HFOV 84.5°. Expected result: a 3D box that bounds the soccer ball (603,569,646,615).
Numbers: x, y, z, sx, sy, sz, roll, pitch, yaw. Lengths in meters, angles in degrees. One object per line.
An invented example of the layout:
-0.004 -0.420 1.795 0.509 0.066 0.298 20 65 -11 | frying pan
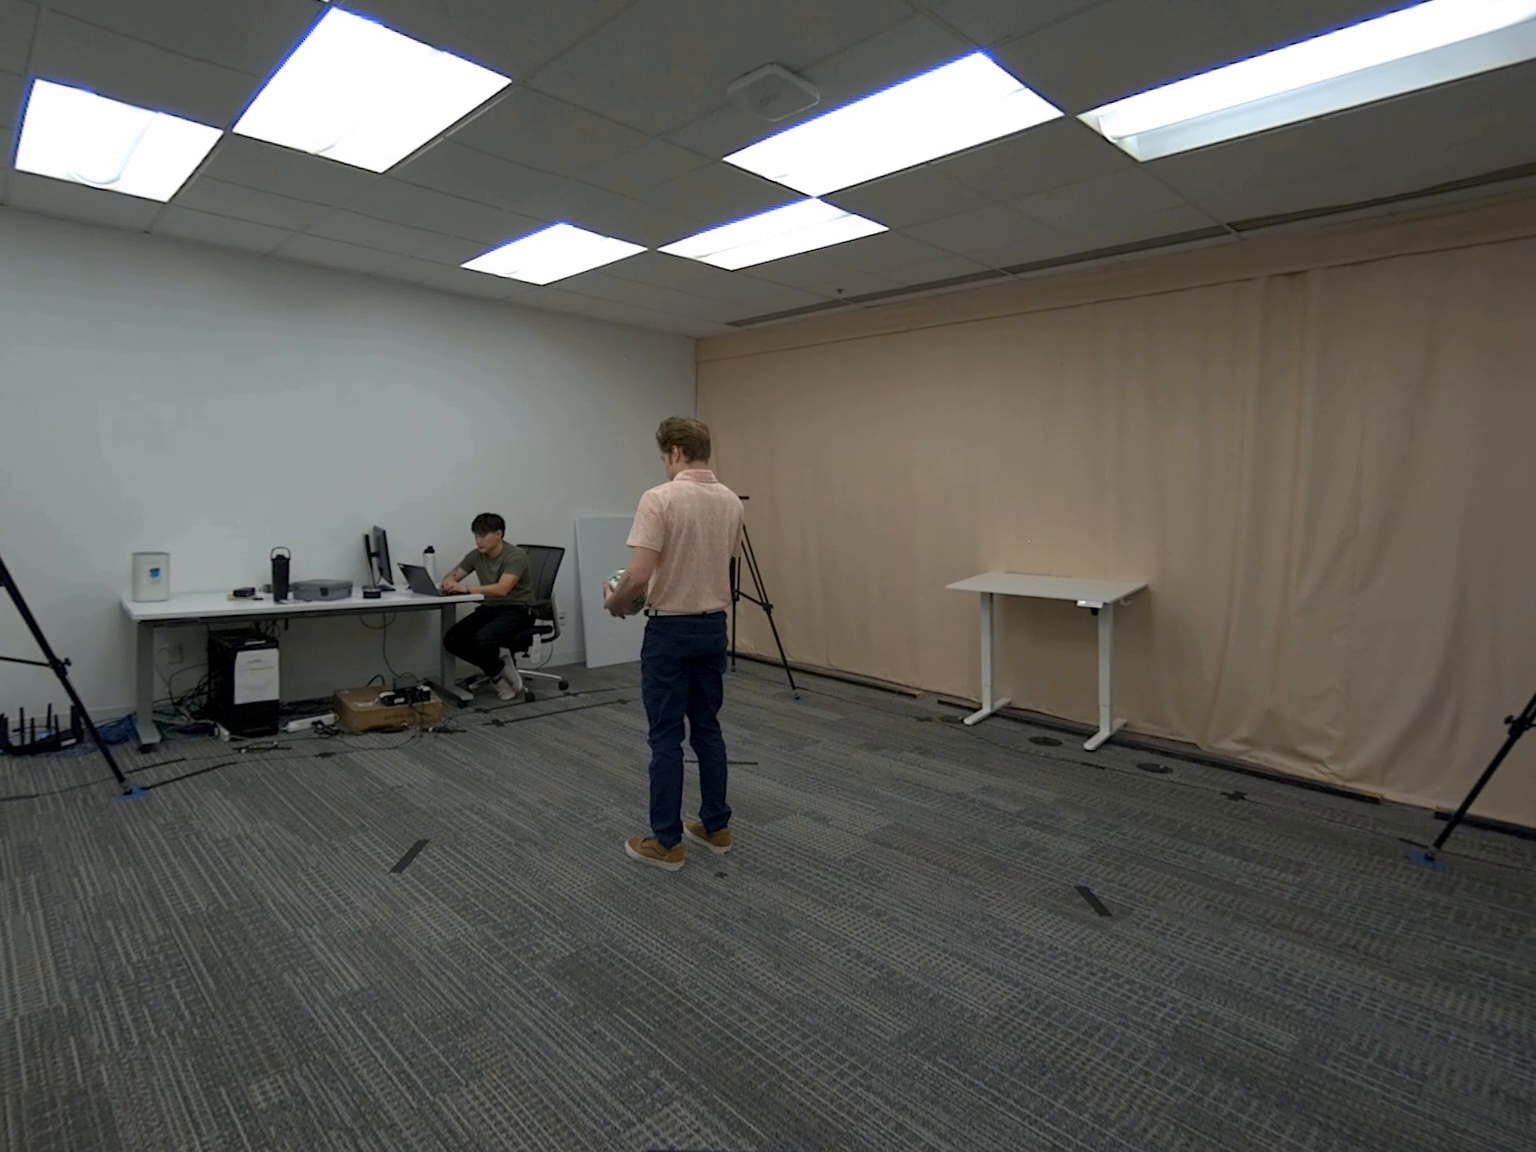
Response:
-0.547 0.065 3.391 0.187 0.187 0.188 1 4 -1 | soccer ball
